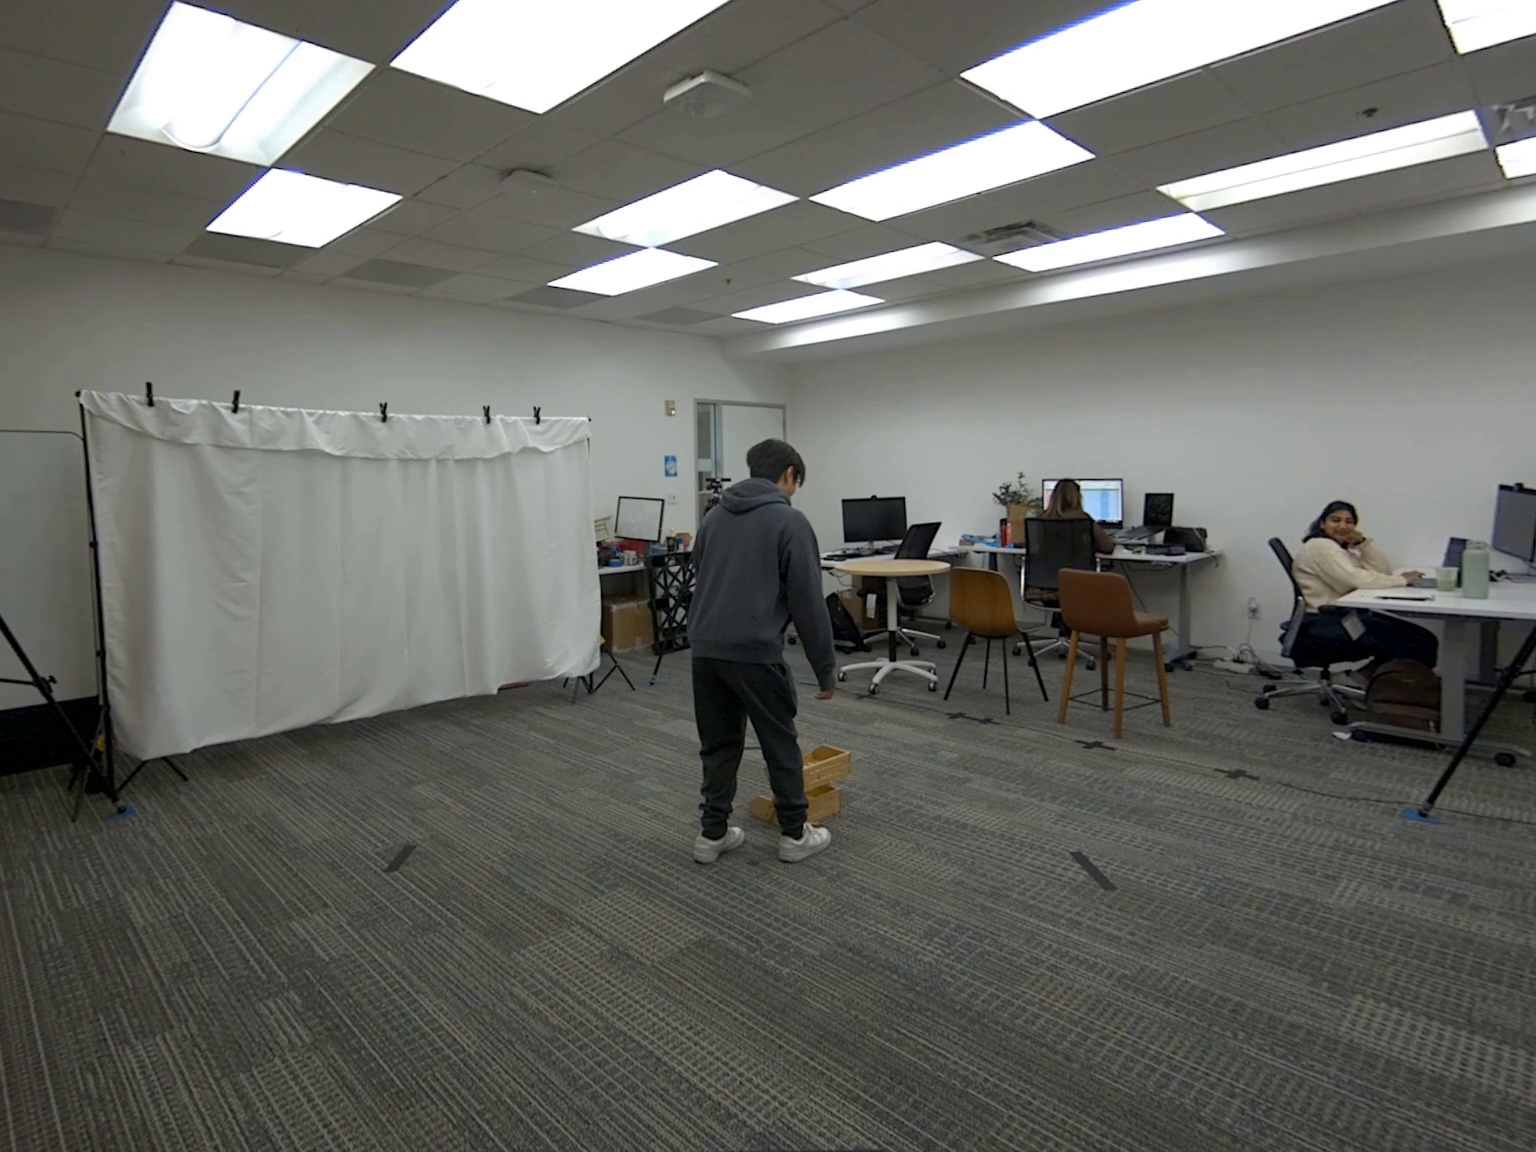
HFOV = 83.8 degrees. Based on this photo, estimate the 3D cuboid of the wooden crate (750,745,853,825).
[{"bbox_3d":[0.132,0.858,3.549,0.316,0.272,0.311,-7,9,-44],"label":"wooden crate"}]
